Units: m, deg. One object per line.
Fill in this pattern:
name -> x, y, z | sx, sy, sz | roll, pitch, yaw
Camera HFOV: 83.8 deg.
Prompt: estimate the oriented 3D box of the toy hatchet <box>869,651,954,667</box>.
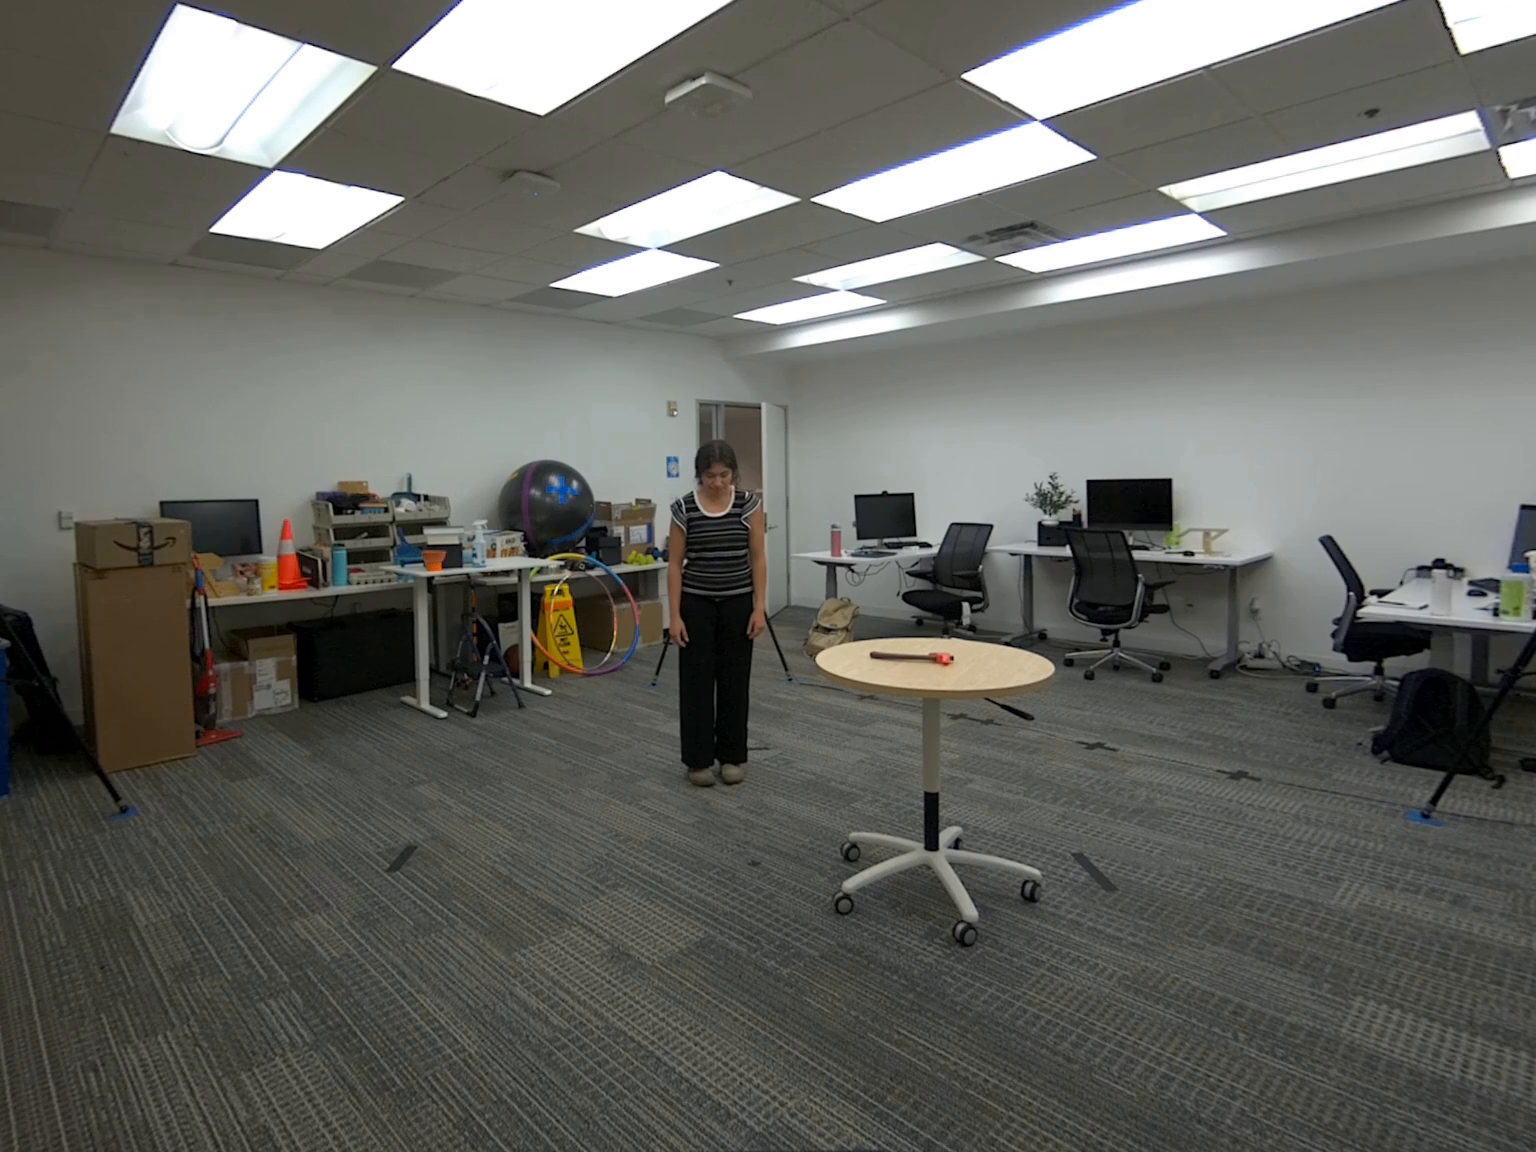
toy hatchet -> 0.485, 0.263, 2.862 | 0.277, 0.029, 0.128 | 2, 7, 32
